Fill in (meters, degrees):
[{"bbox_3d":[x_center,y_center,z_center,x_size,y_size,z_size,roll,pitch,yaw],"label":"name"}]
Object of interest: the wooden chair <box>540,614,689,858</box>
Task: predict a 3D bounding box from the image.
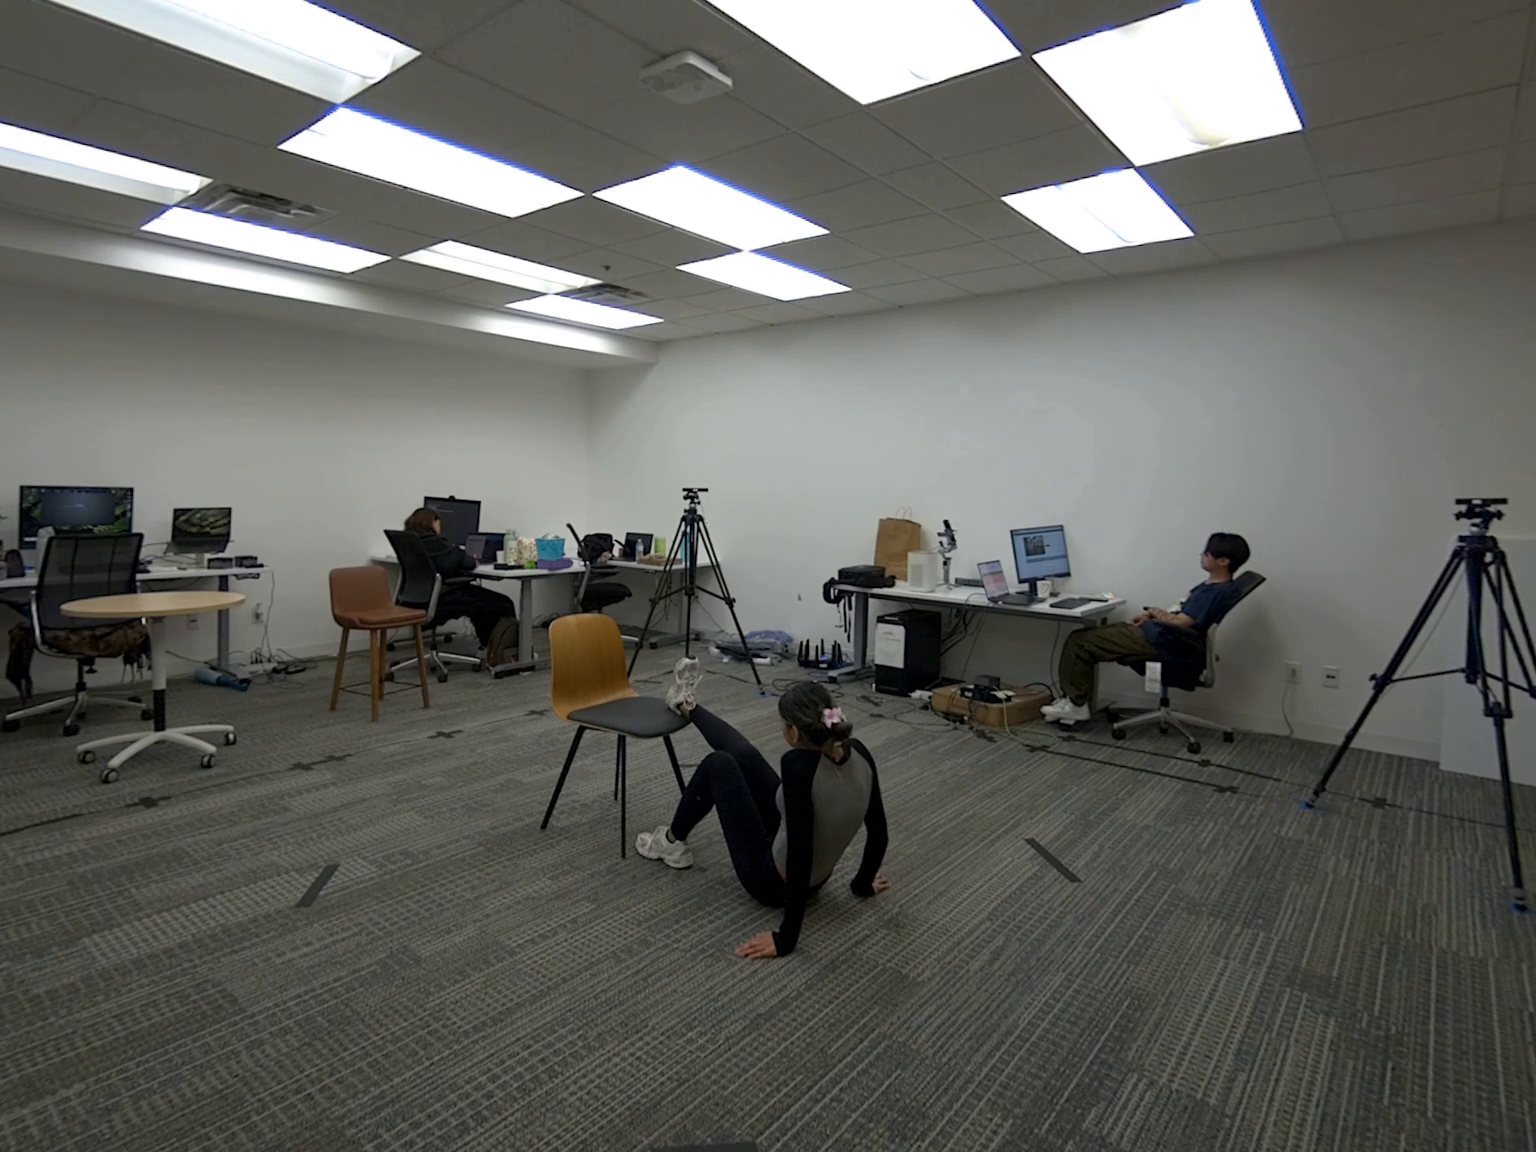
[{"bbox_3d":[-0.605,0.599,3.466,0.538,0.877,0.464,-2,1,34],"label":"wooden chair"}]
